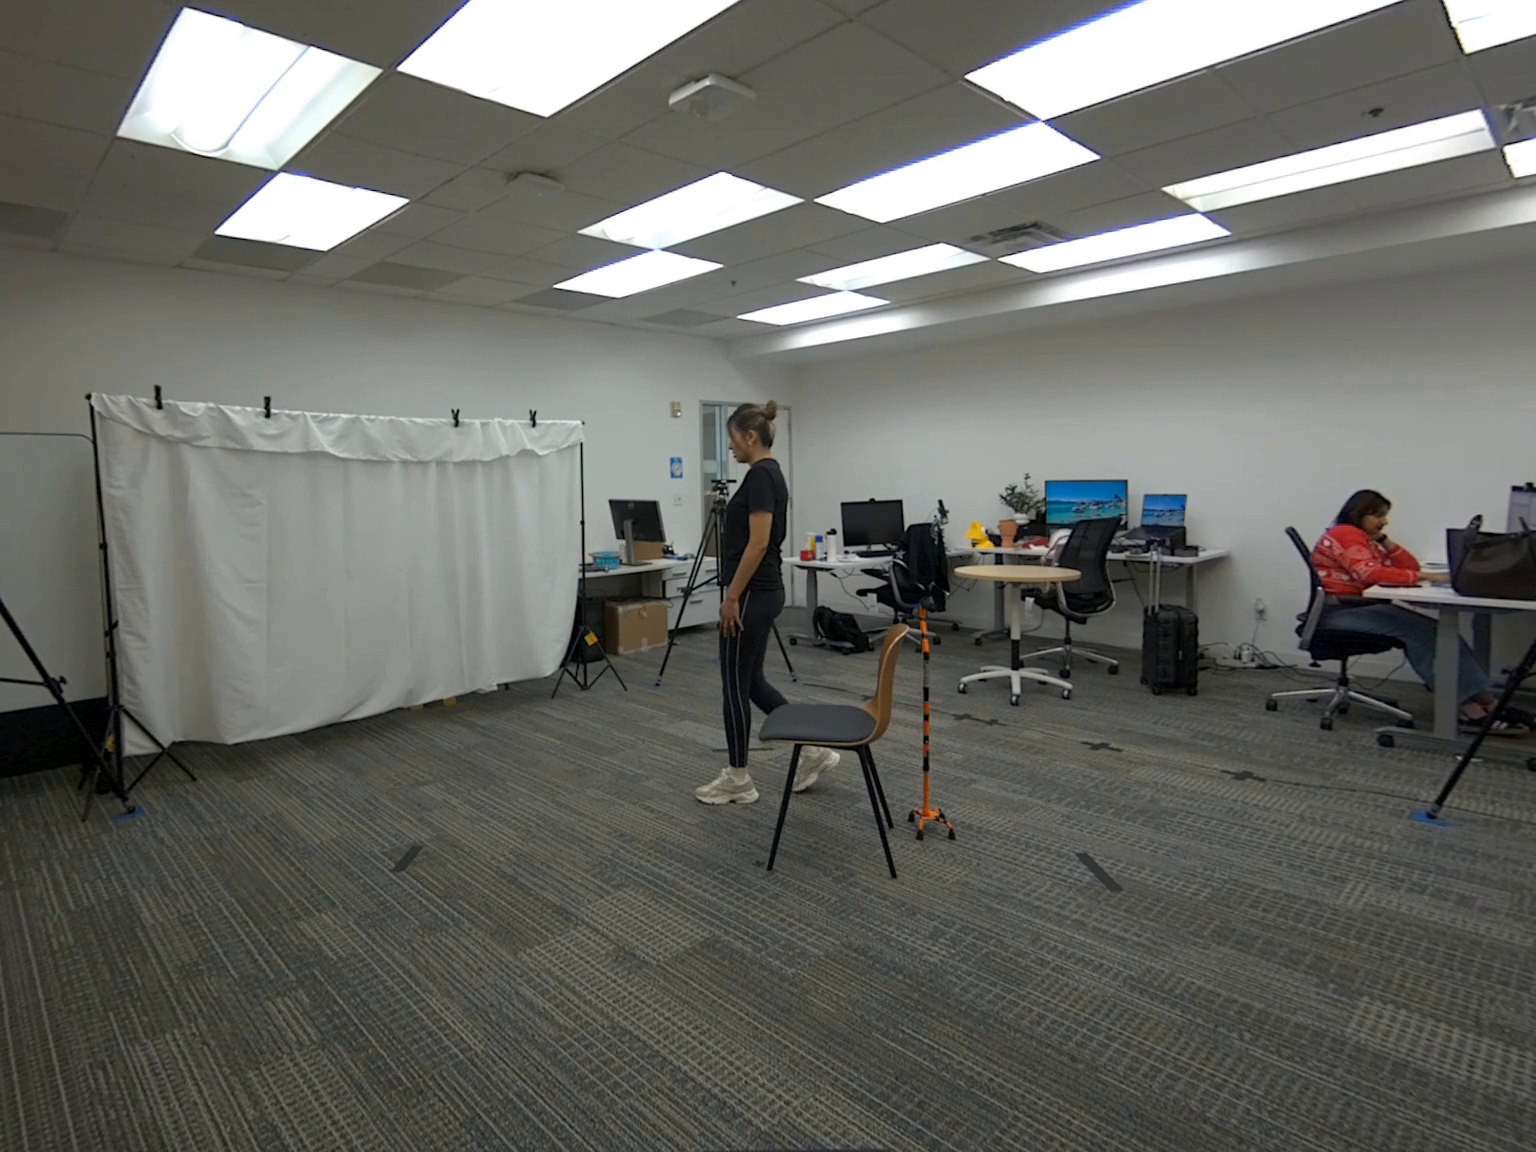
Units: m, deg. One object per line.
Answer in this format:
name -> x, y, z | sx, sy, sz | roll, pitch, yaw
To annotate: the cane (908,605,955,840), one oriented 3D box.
cane -> 0.640, 0.554, 3.358 | 0.152, 0.905, 0.207 | -1, 3, 1
